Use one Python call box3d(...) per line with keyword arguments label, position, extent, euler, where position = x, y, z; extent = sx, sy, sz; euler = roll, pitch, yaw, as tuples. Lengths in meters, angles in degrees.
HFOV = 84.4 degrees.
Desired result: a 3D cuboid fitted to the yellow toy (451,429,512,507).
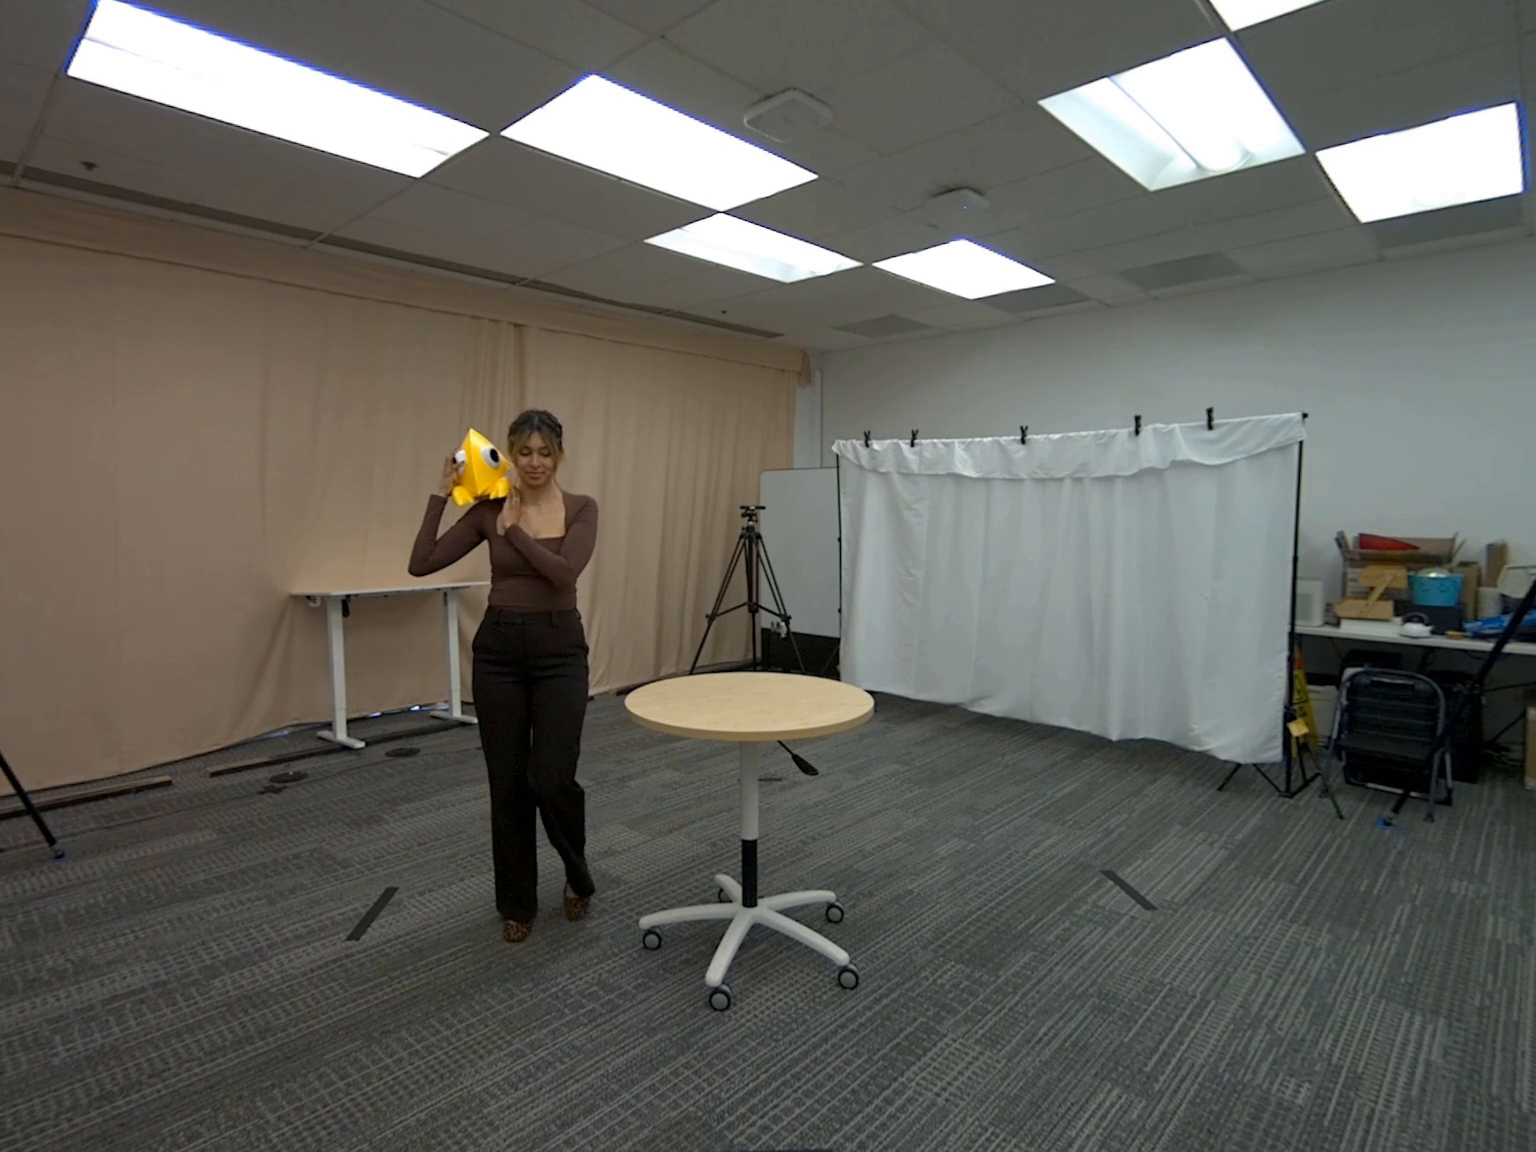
box3d(label="yellow toy", position=(-0.955, -0.367, 2.763), extent=(0.204, 0.228, 0.196), euler=(-12, 13, -5))
